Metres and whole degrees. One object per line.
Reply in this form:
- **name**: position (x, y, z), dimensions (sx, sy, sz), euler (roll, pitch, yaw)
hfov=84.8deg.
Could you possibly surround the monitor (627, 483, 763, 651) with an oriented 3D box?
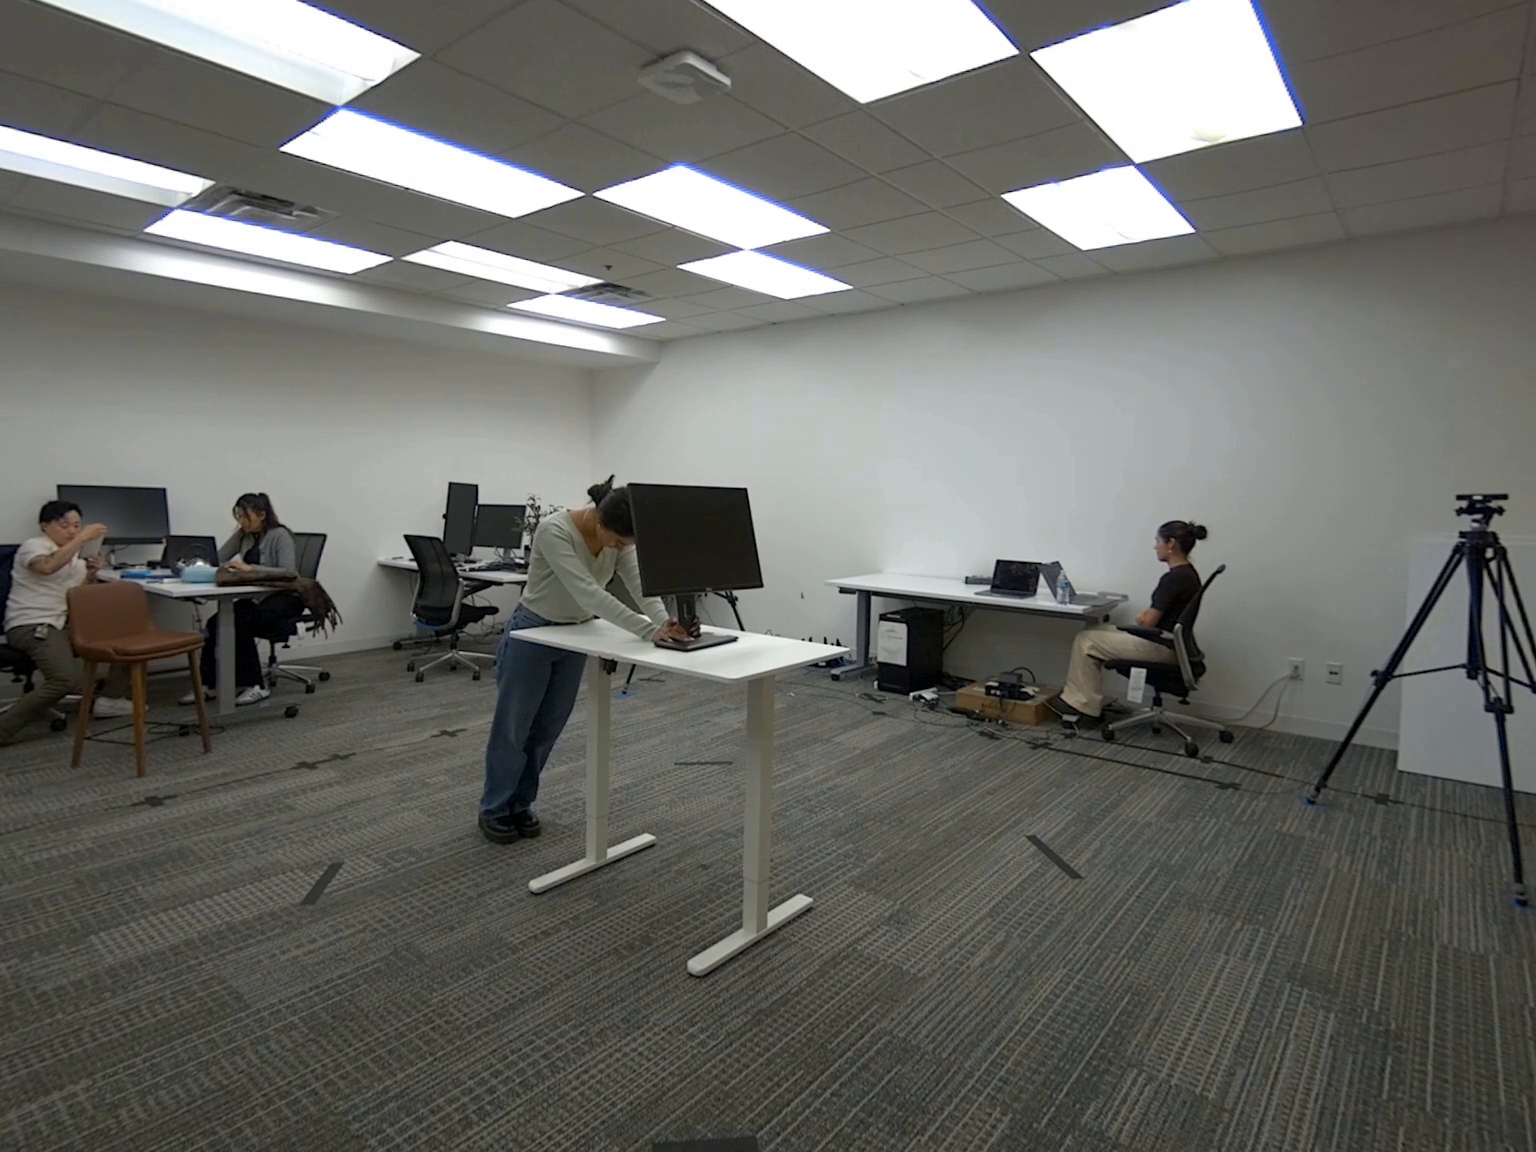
- **monitor**: position (-0.252, -0.036, 2.768), dimensions (0.193, 0.522, 0.523), euler (2, 3, 40)
